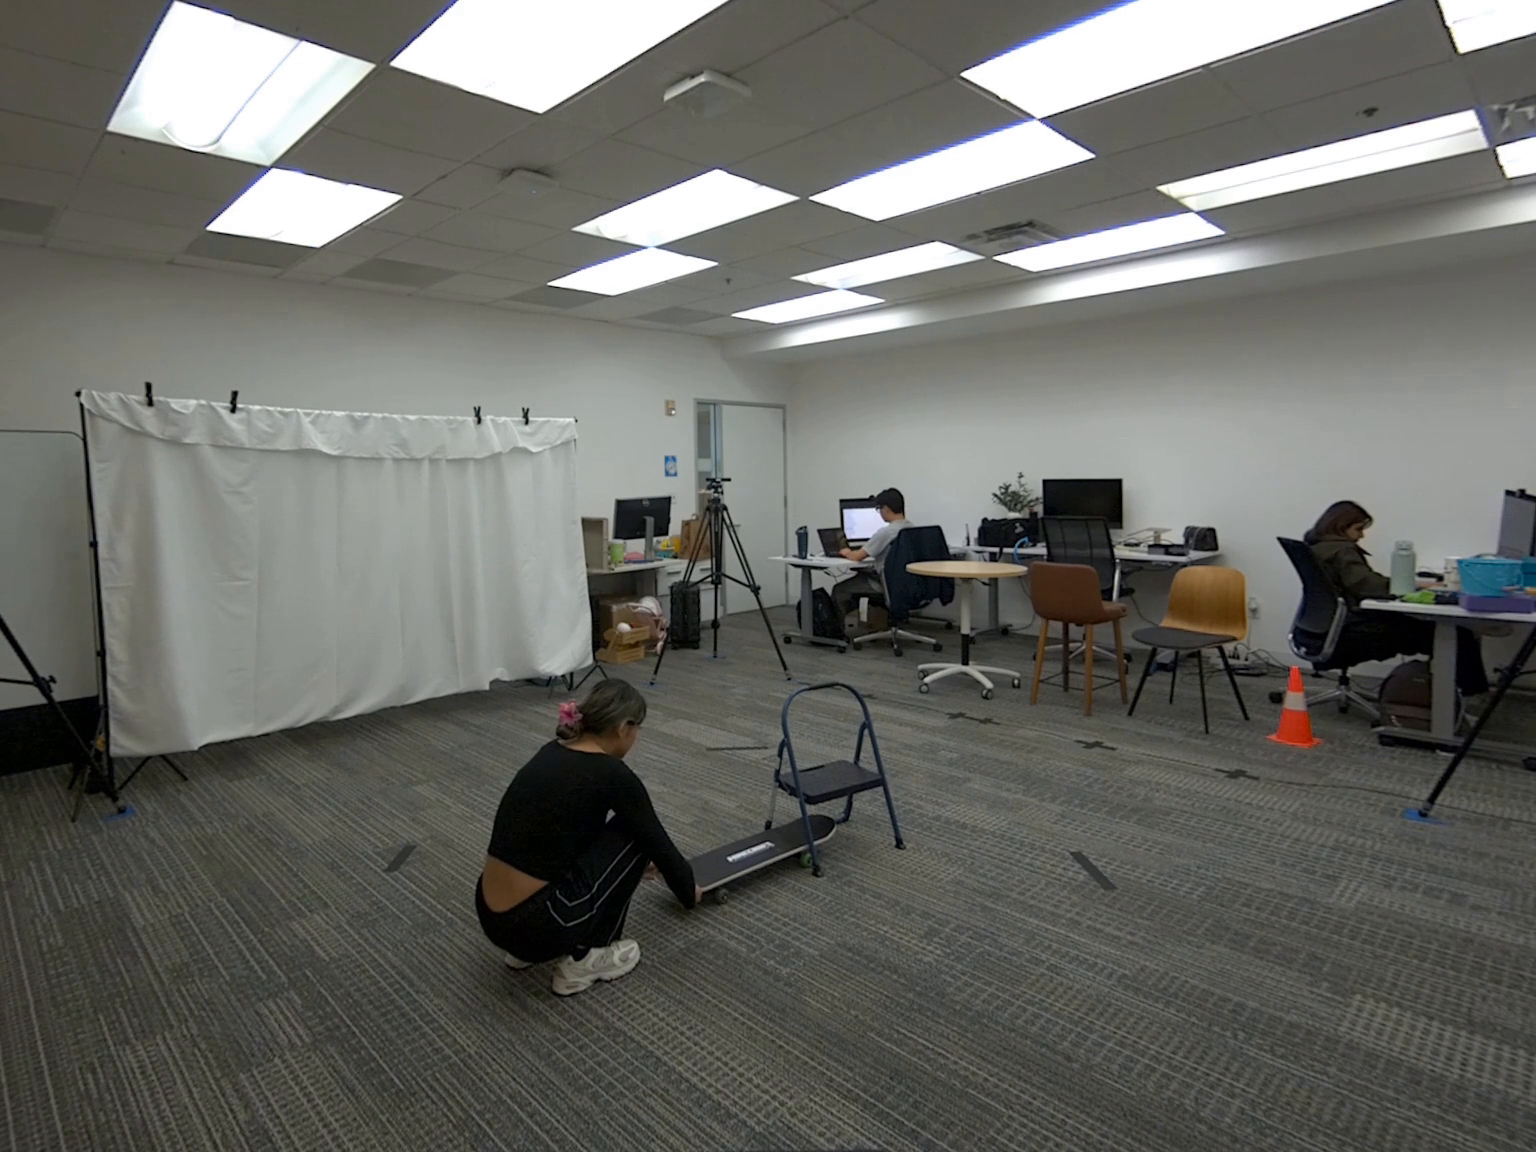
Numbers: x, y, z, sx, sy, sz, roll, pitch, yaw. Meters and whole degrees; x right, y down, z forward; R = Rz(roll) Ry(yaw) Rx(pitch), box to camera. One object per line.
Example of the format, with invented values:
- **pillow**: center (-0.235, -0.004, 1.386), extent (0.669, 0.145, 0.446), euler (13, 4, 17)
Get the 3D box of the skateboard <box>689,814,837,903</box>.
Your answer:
- **skateboard**: center (-0.060, 0.991, 2.999), extent (0.765, 0.110, 0.199), euler (-7, 7, -40)
